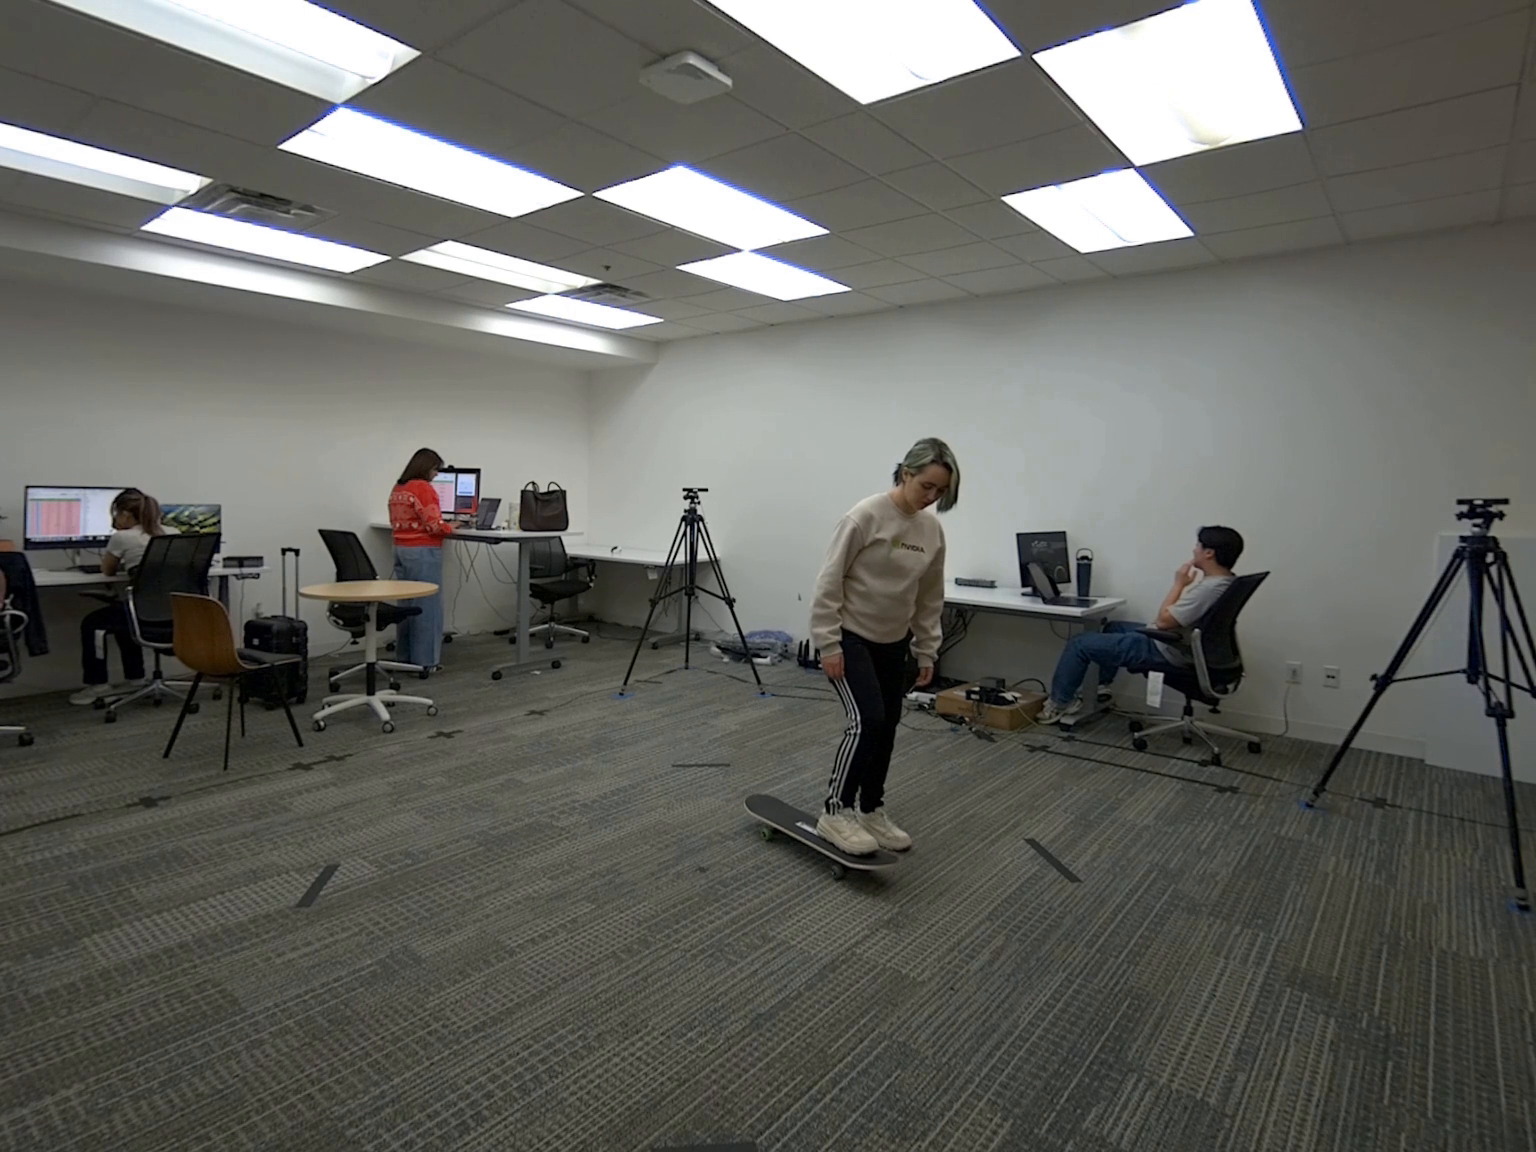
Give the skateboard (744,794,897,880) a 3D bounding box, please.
[{"bbox_3d":[0.173,1.010,3.267,0.187,0.110,0.812,0,6,-38],"label":"skateboard"}]
